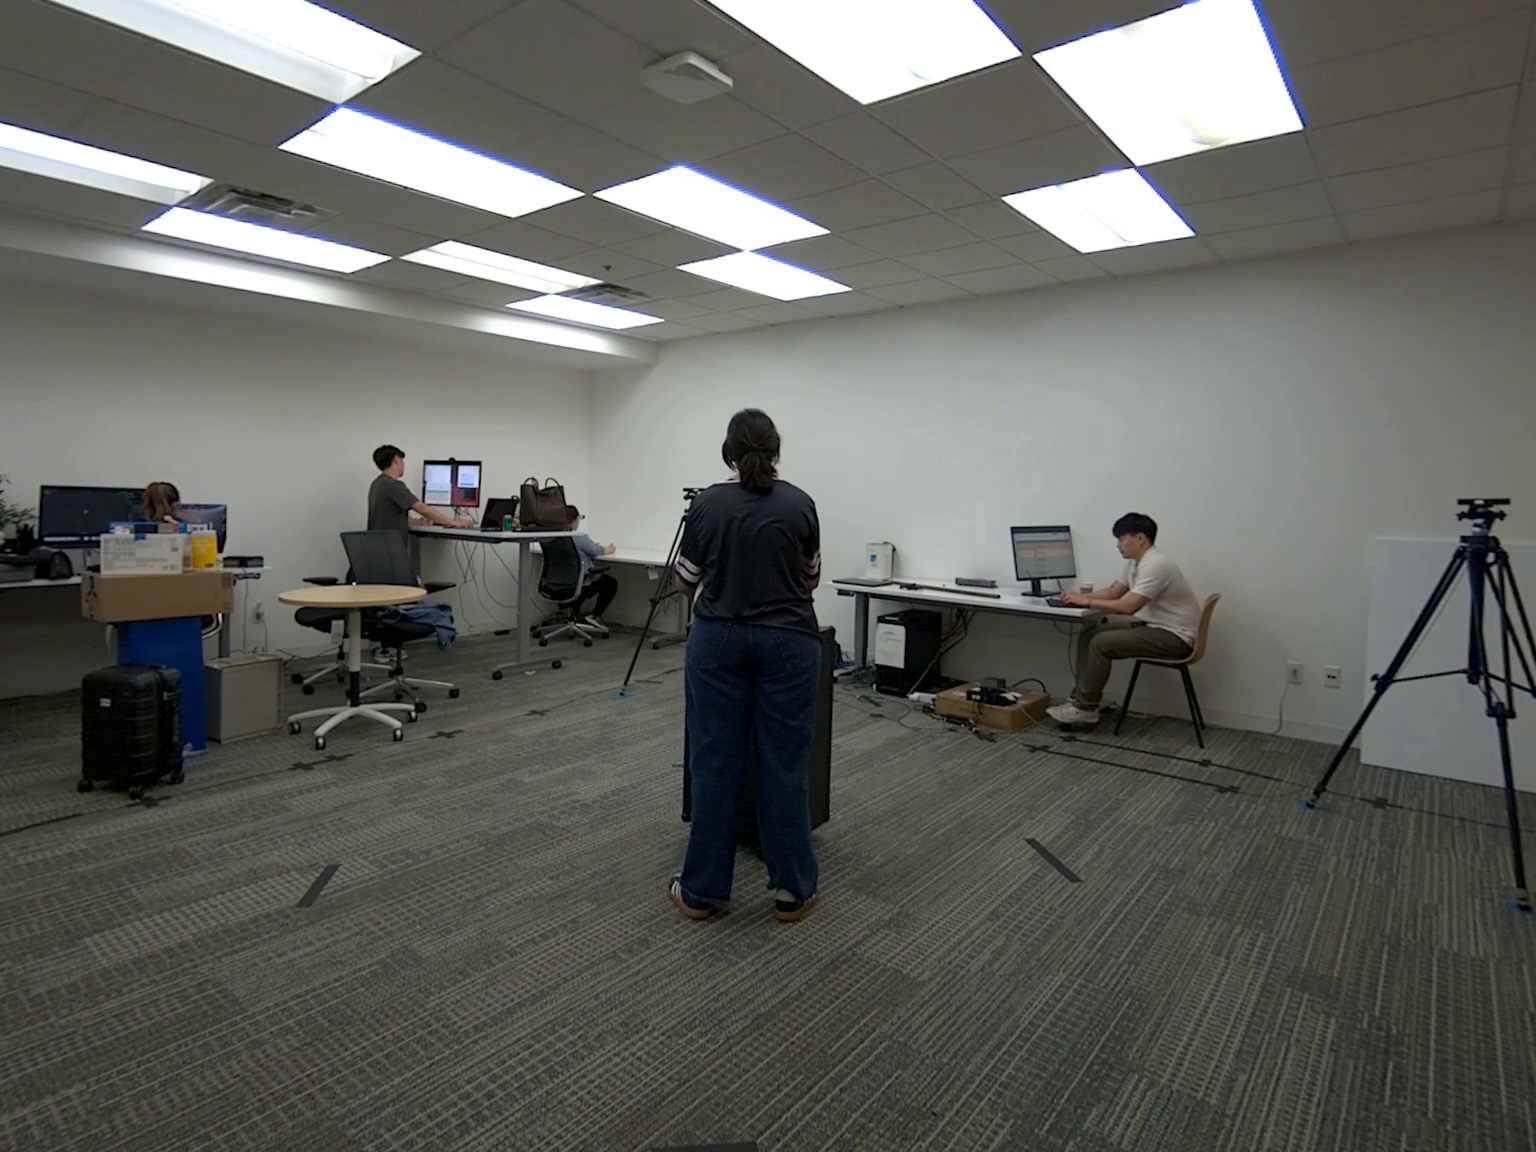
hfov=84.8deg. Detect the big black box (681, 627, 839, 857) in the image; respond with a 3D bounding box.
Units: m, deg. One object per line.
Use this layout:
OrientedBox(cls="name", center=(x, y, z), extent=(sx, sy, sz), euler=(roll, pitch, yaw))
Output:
OrientedBox(cls="big black box", center=(-0.053, 0.620, 3.392), extent=(0.539, 0.867, 0.375), euler=(3, 3, 30))
